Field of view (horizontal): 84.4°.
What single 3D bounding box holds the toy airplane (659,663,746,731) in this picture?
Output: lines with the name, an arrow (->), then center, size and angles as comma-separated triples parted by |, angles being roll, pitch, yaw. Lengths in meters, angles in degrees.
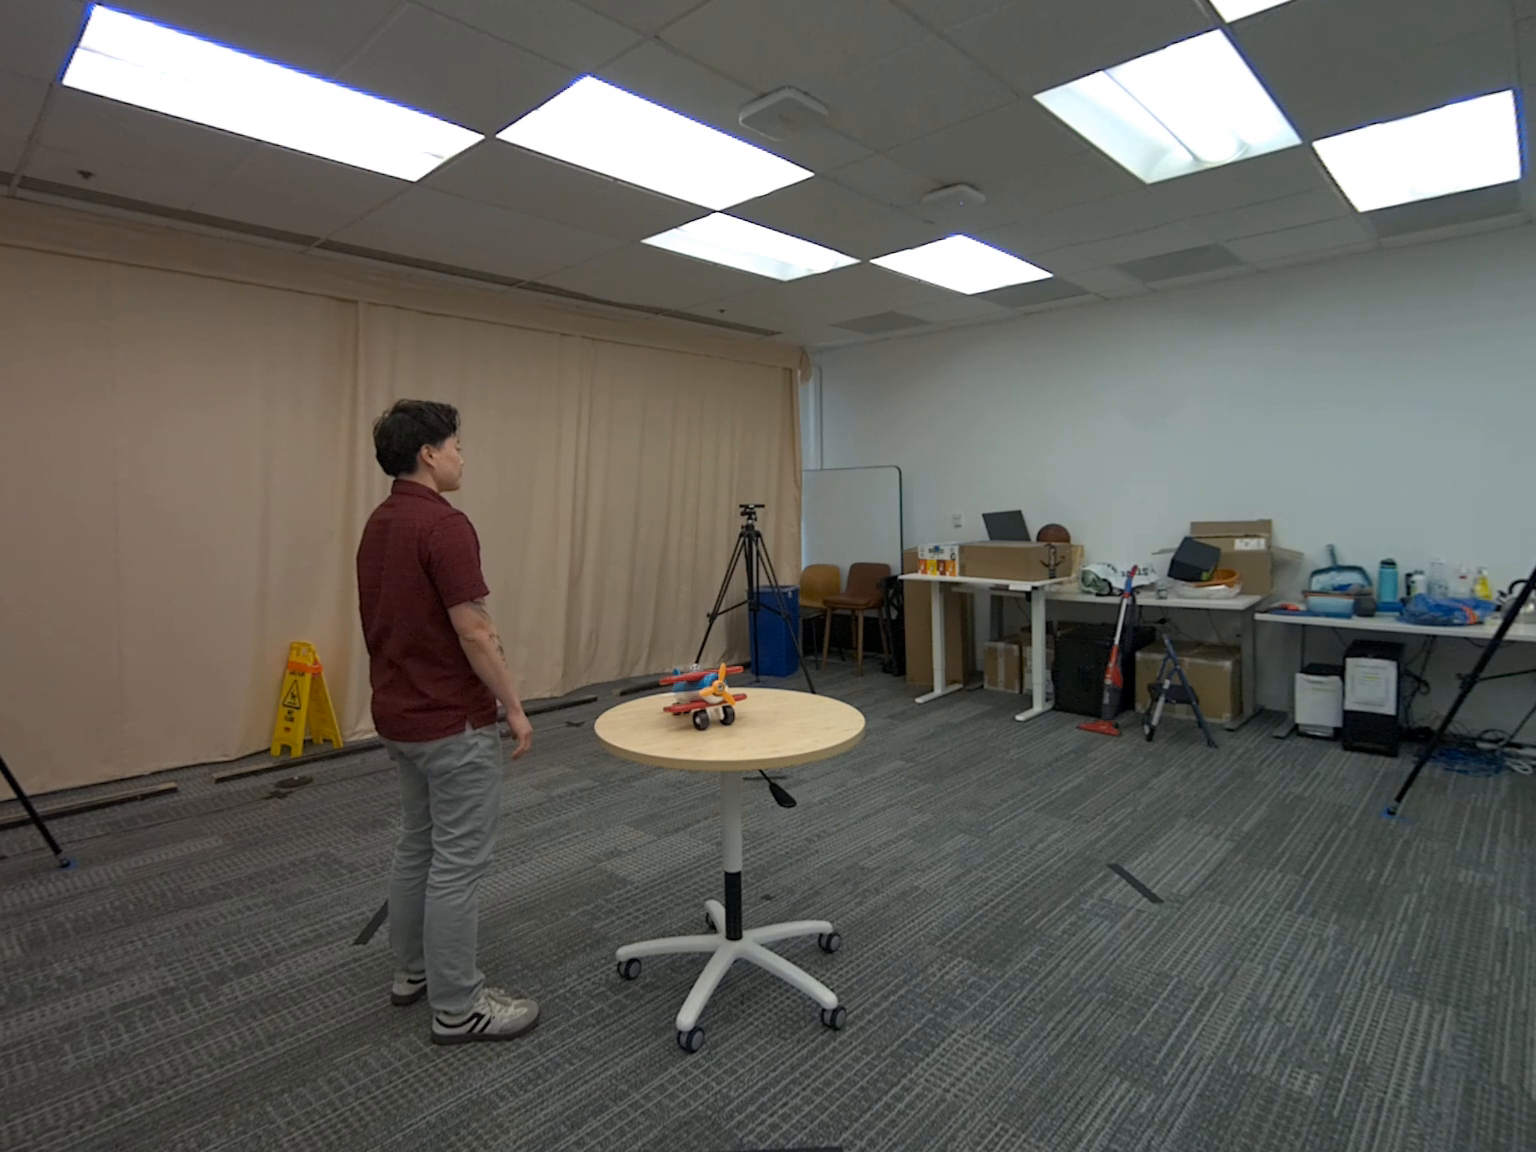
toy airplane -> -0.210, 0.337, 2.370 | 0.267, 0.156, 0.245 | 2, 7, 30
